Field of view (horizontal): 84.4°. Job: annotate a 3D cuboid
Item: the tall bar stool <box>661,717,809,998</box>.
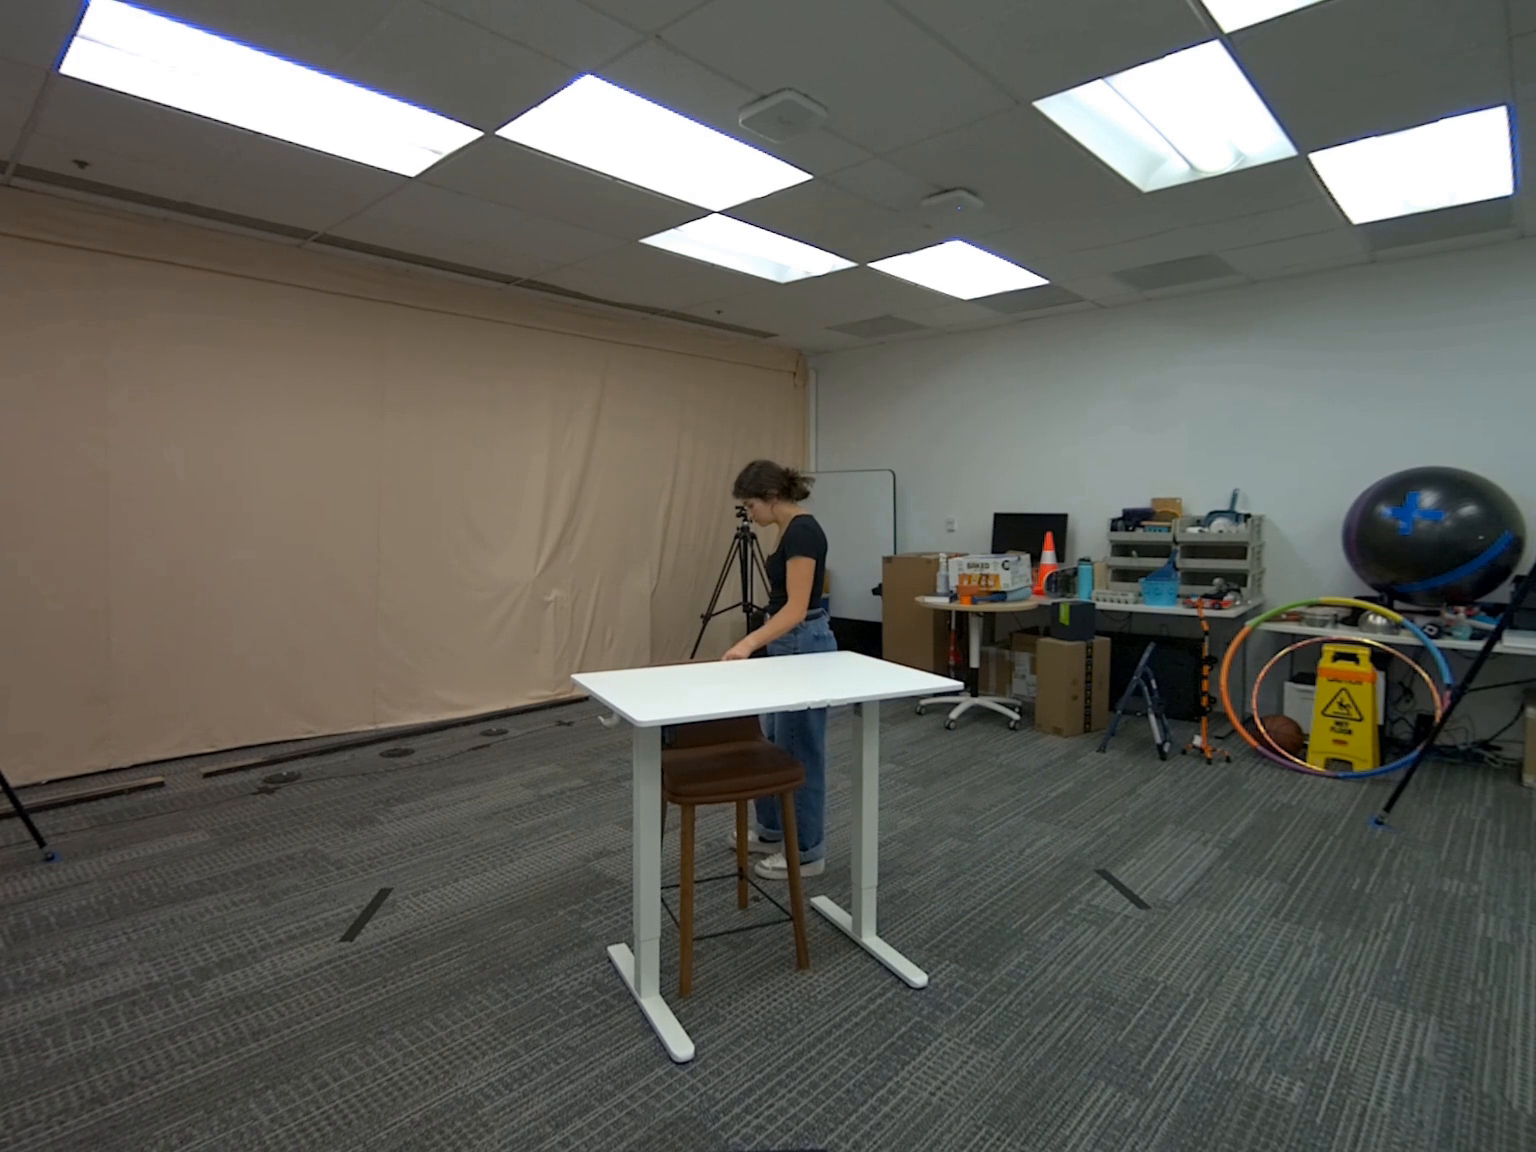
[{"bbox_3d":[-0.161,0.745,2.644,0.446,0.889,0.478,-2,1,-24],"label":"tall bar stool"}]
